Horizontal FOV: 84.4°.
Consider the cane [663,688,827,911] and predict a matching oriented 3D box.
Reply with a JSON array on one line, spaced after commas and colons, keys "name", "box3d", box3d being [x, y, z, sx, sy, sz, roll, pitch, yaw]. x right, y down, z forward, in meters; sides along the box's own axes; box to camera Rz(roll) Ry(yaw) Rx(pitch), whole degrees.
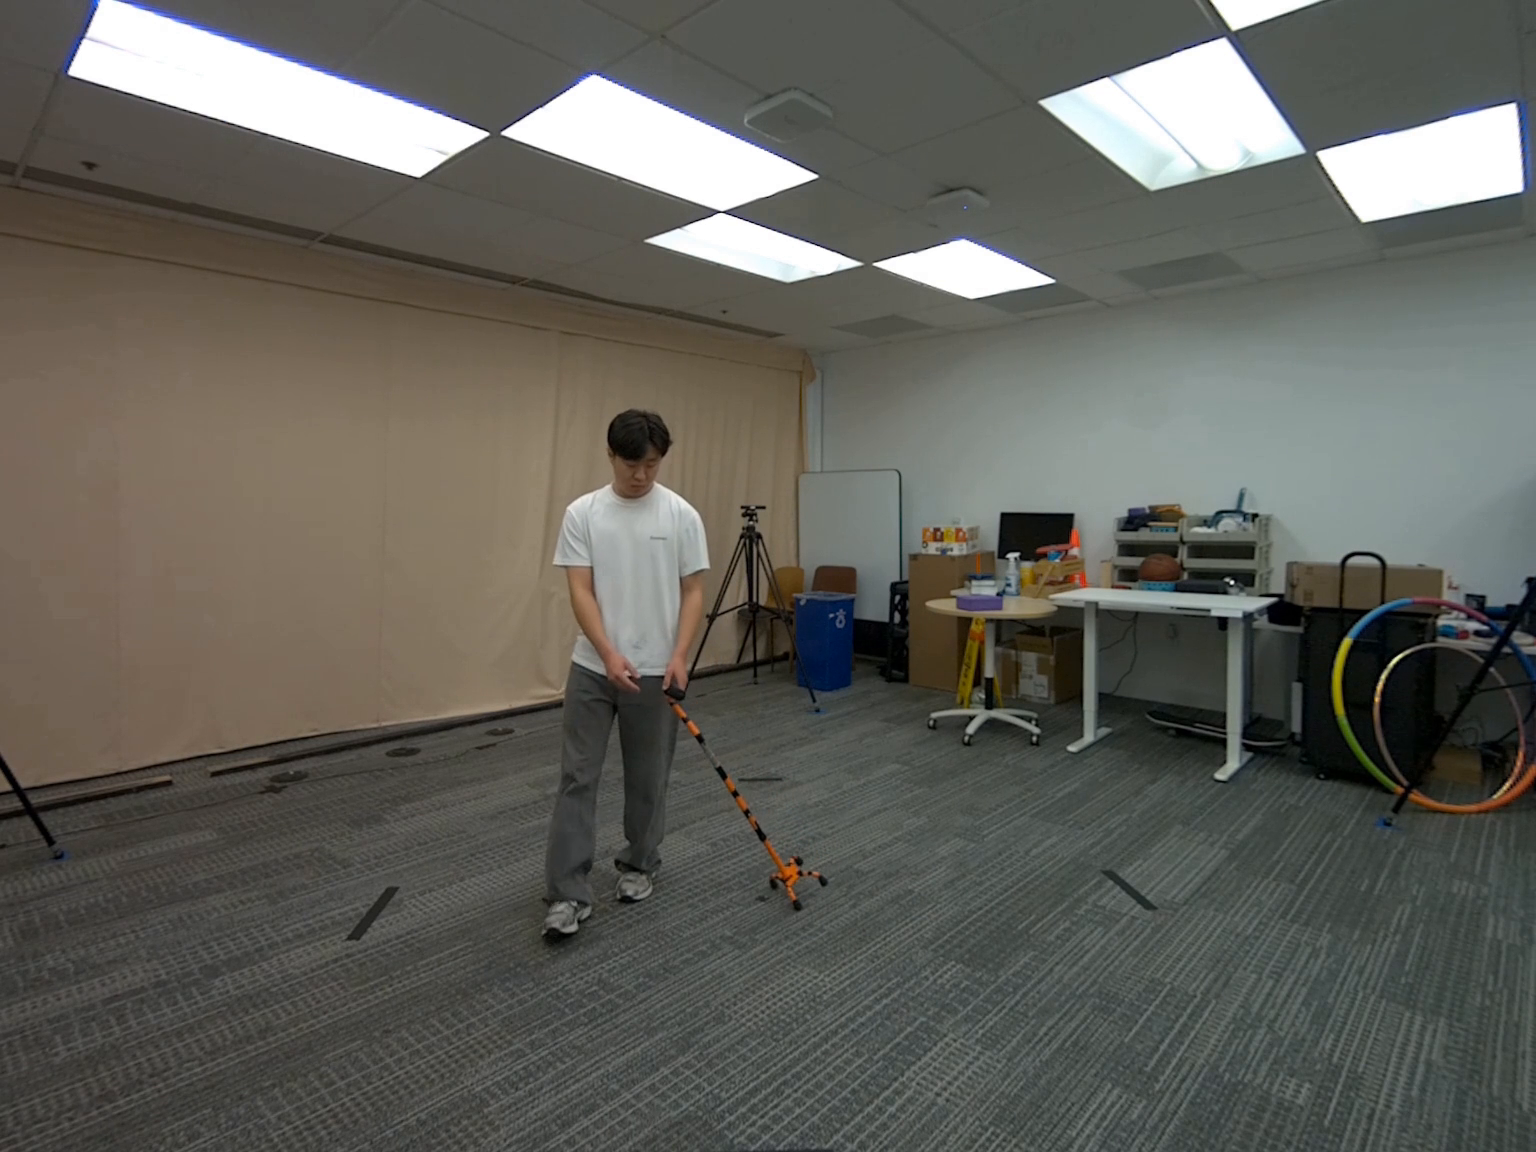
[{"name": "cane", "box3d": [-0.091, 0.738, 2.889, 0.150, 0.894, 0.212, -35, 16, -20]}]
